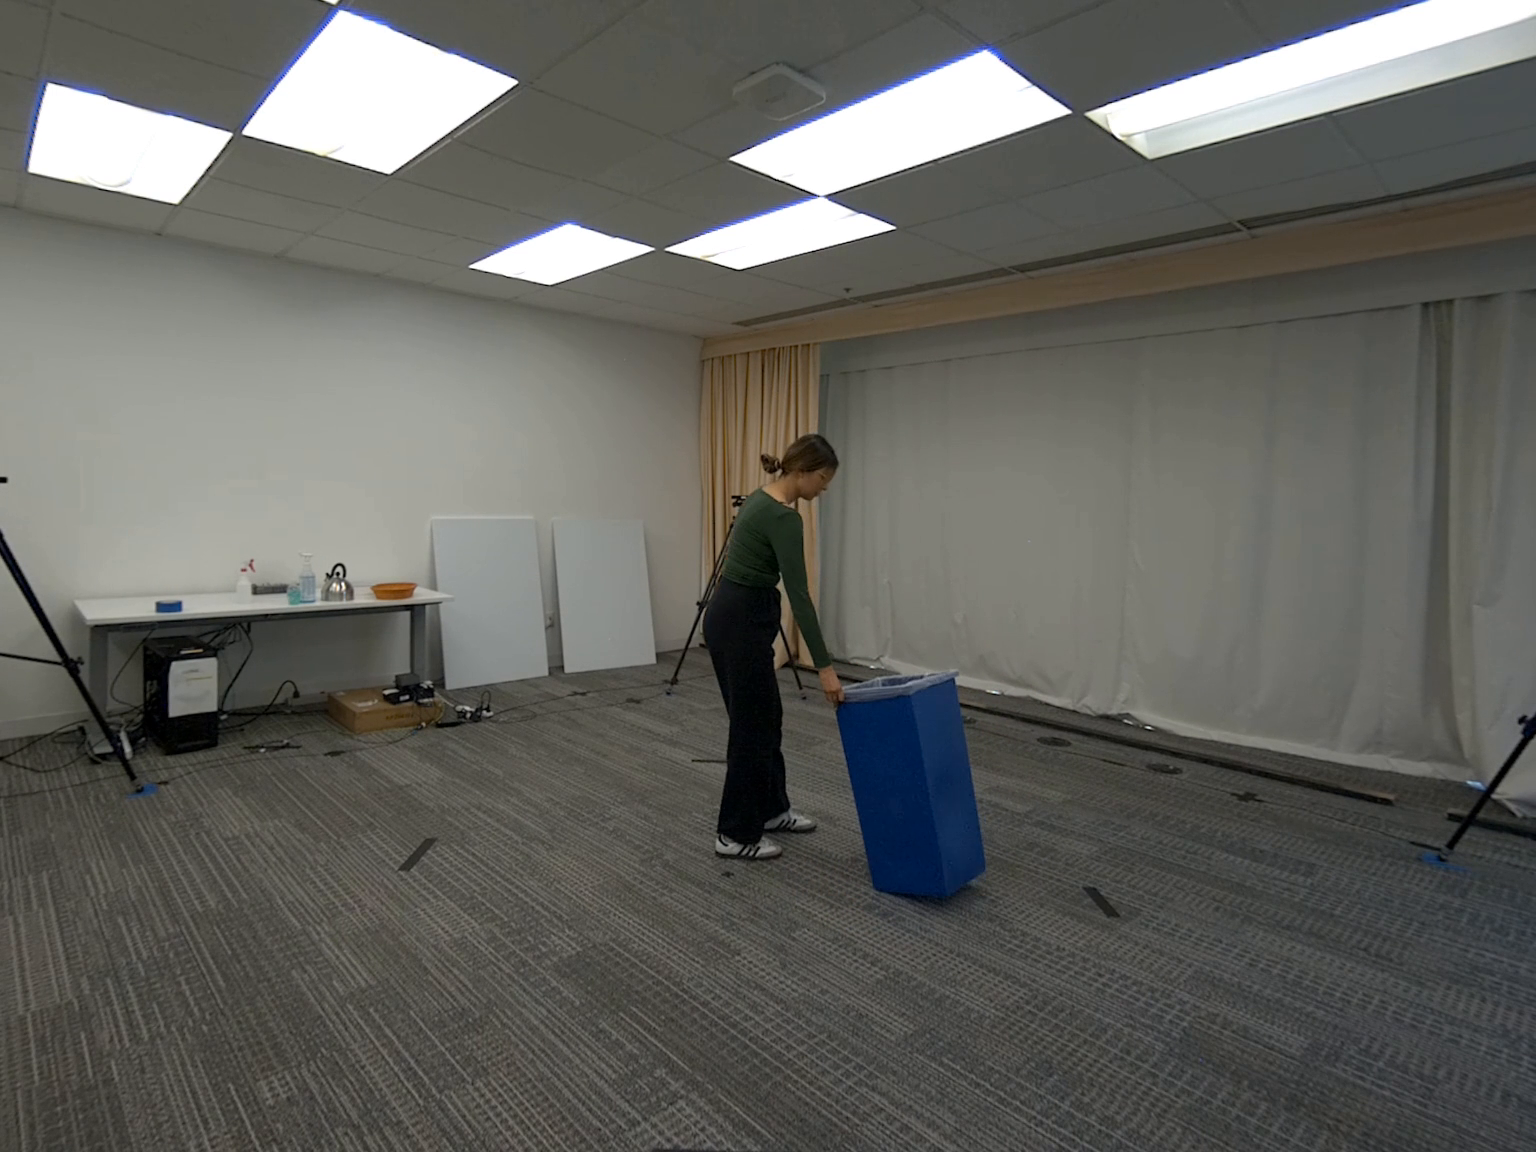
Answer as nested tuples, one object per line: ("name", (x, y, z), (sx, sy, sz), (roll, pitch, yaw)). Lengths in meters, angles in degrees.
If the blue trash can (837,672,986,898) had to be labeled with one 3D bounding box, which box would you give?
("blue trash can", (0.525, 0.738, 3.056), (0.380, 0.717, 0.369), (-15, -8, 40))
